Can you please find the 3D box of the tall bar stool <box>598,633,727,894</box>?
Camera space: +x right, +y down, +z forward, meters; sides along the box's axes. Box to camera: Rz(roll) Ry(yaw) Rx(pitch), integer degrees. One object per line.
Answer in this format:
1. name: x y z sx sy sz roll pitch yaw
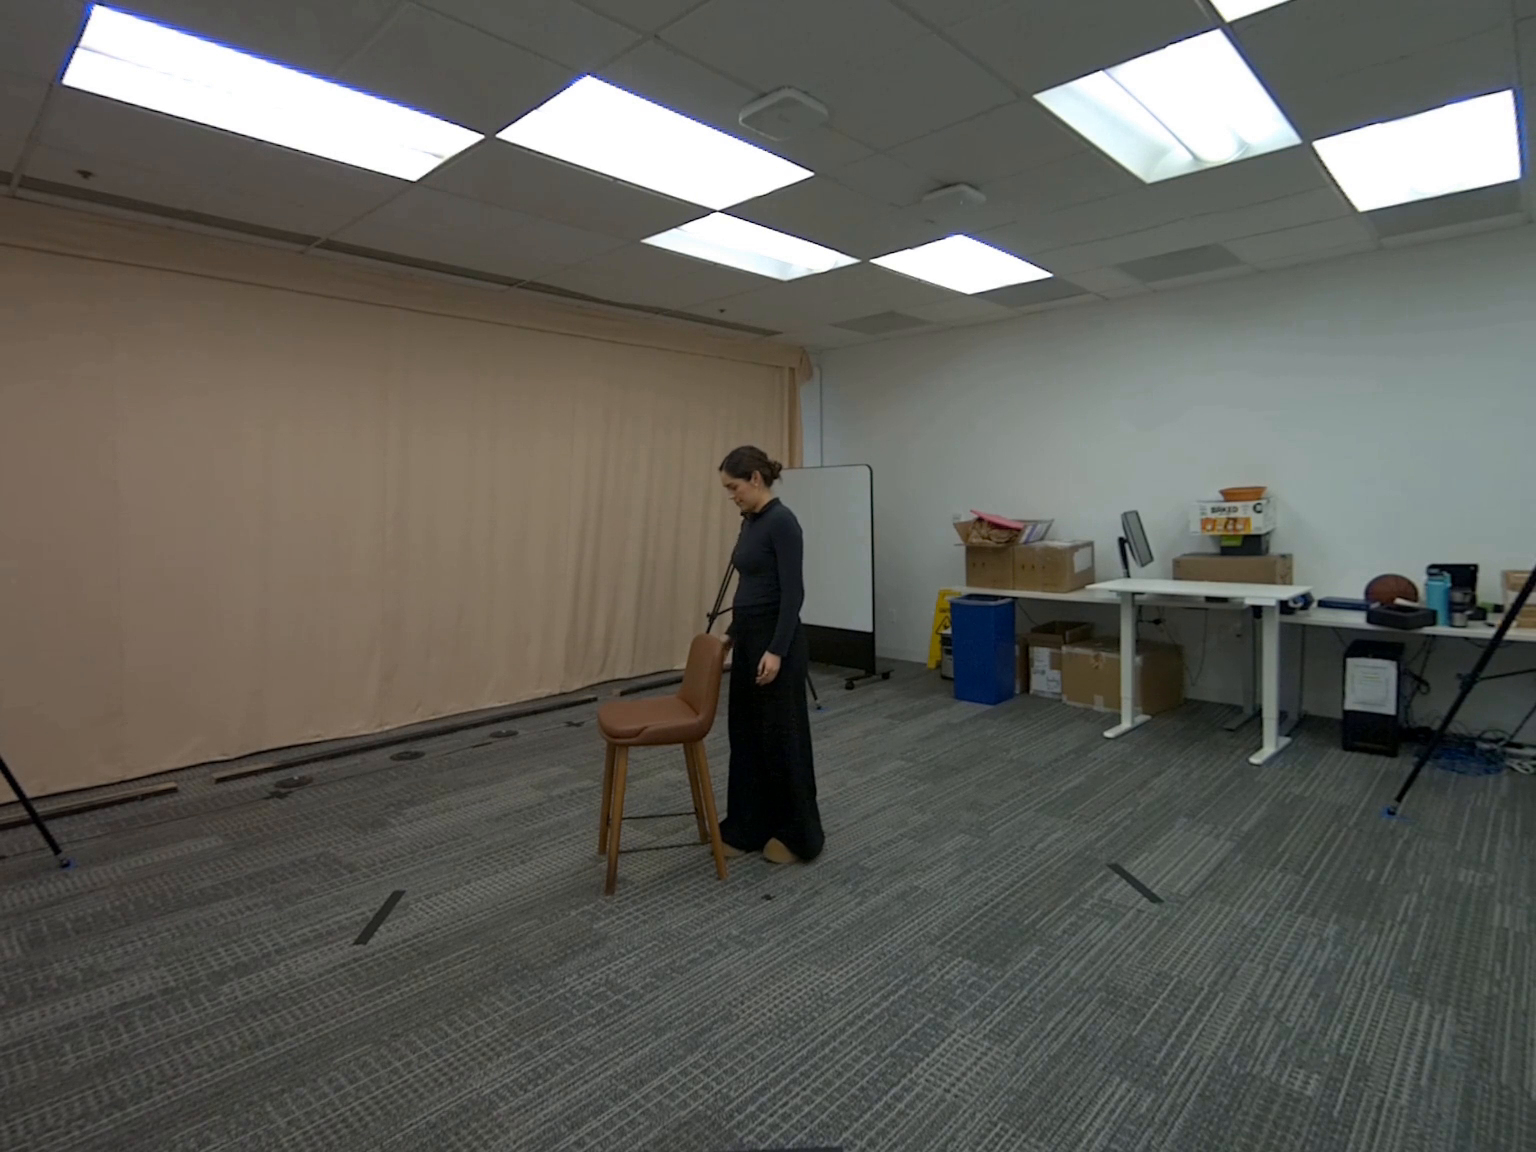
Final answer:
1. tall bar stool: -0.419 0.687 3.244 0.461 0.888 0.464 1 3 -15
